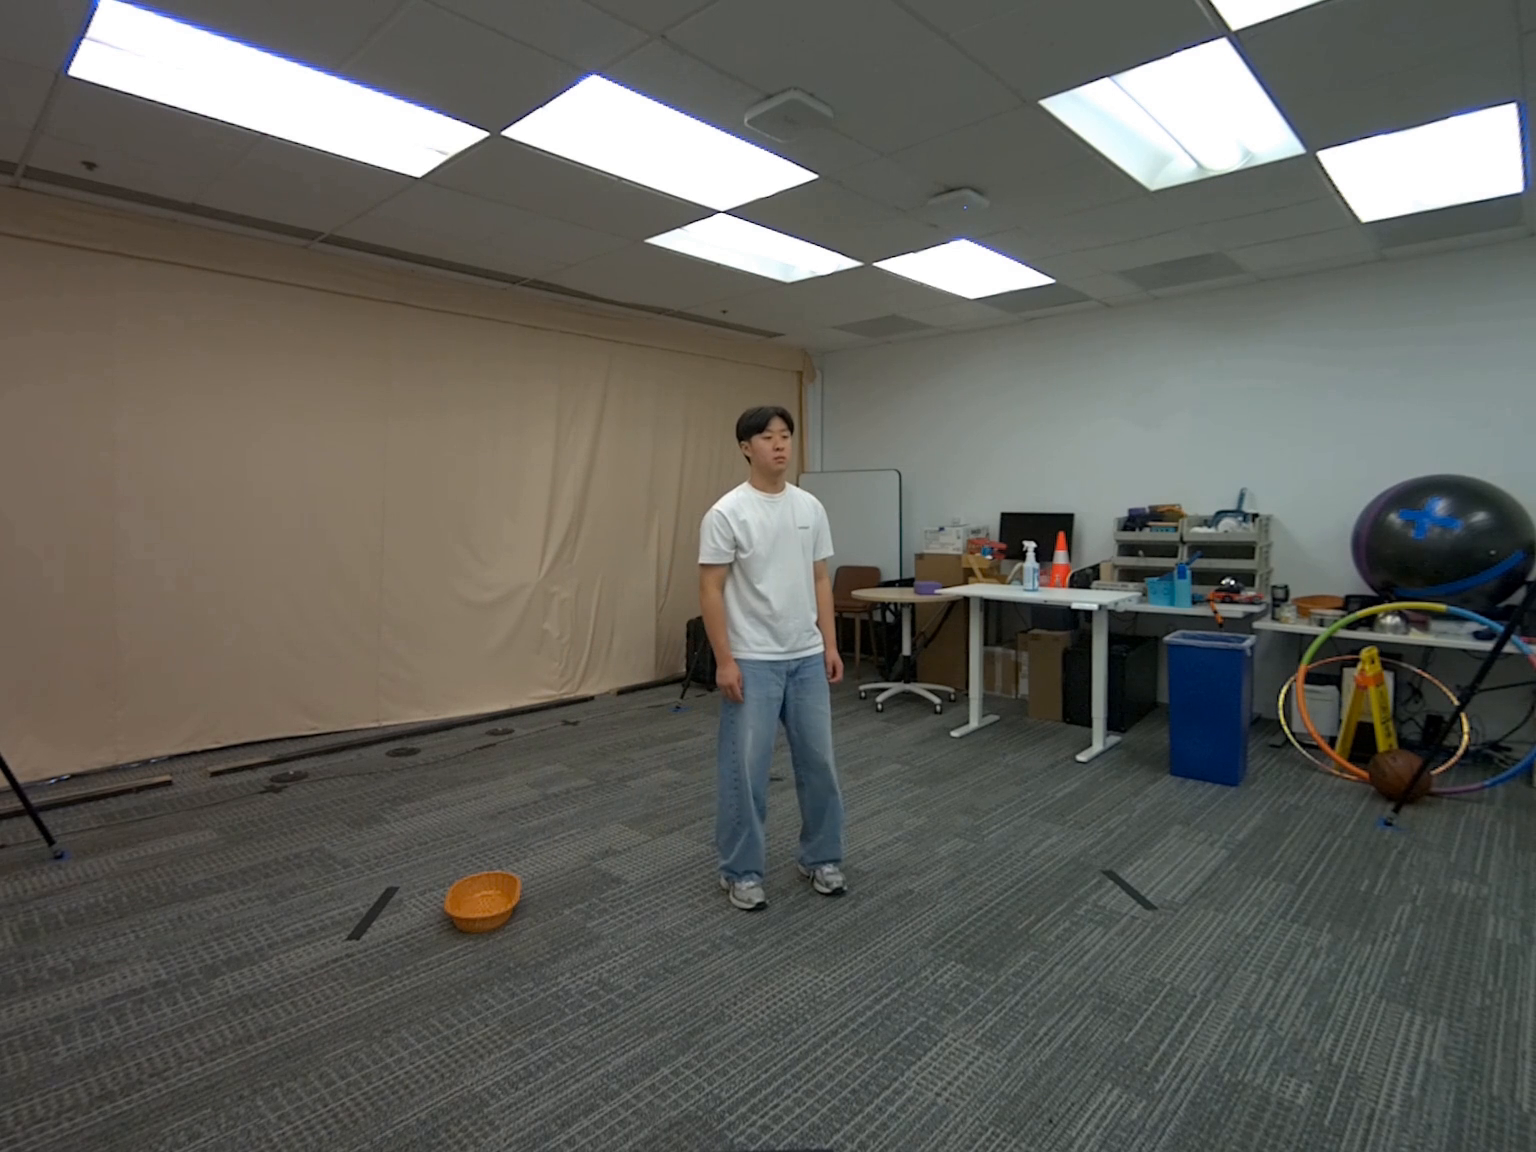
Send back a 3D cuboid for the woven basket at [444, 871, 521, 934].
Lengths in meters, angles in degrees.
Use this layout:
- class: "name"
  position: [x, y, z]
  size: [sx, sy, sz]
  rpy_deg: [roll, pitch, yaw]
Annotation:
- class: "woven basket"
  position: [-0.980, 1.124, 2.895]
  size: [0.250, 0.073, 0.355]
  rpy_deg: [-1, 4, -10]
